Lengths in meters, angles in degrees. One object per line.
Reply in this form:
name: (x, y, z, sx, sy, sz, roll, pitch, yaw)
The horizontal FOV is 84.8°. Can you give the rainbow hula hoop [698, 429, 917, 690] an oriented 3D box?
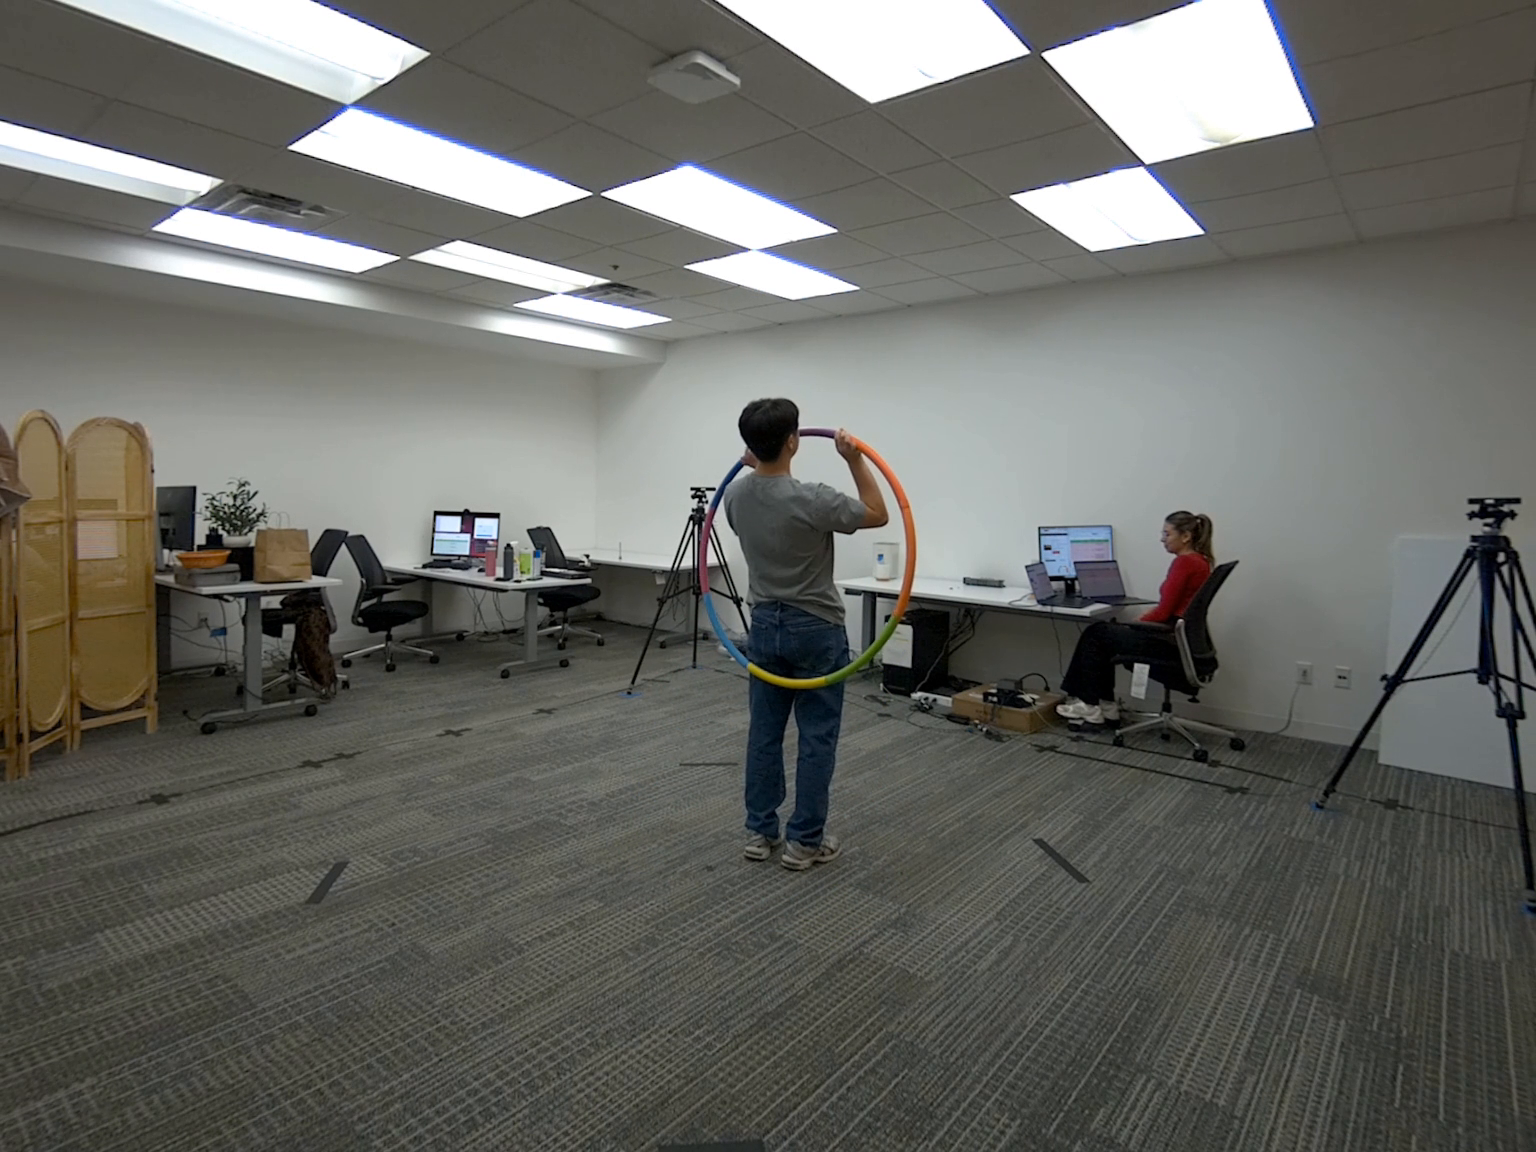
rainbow hula hoop: (0.096, -0.086, 3.216, 1.012, 0.980, 0.034, 4, -2, 40)
